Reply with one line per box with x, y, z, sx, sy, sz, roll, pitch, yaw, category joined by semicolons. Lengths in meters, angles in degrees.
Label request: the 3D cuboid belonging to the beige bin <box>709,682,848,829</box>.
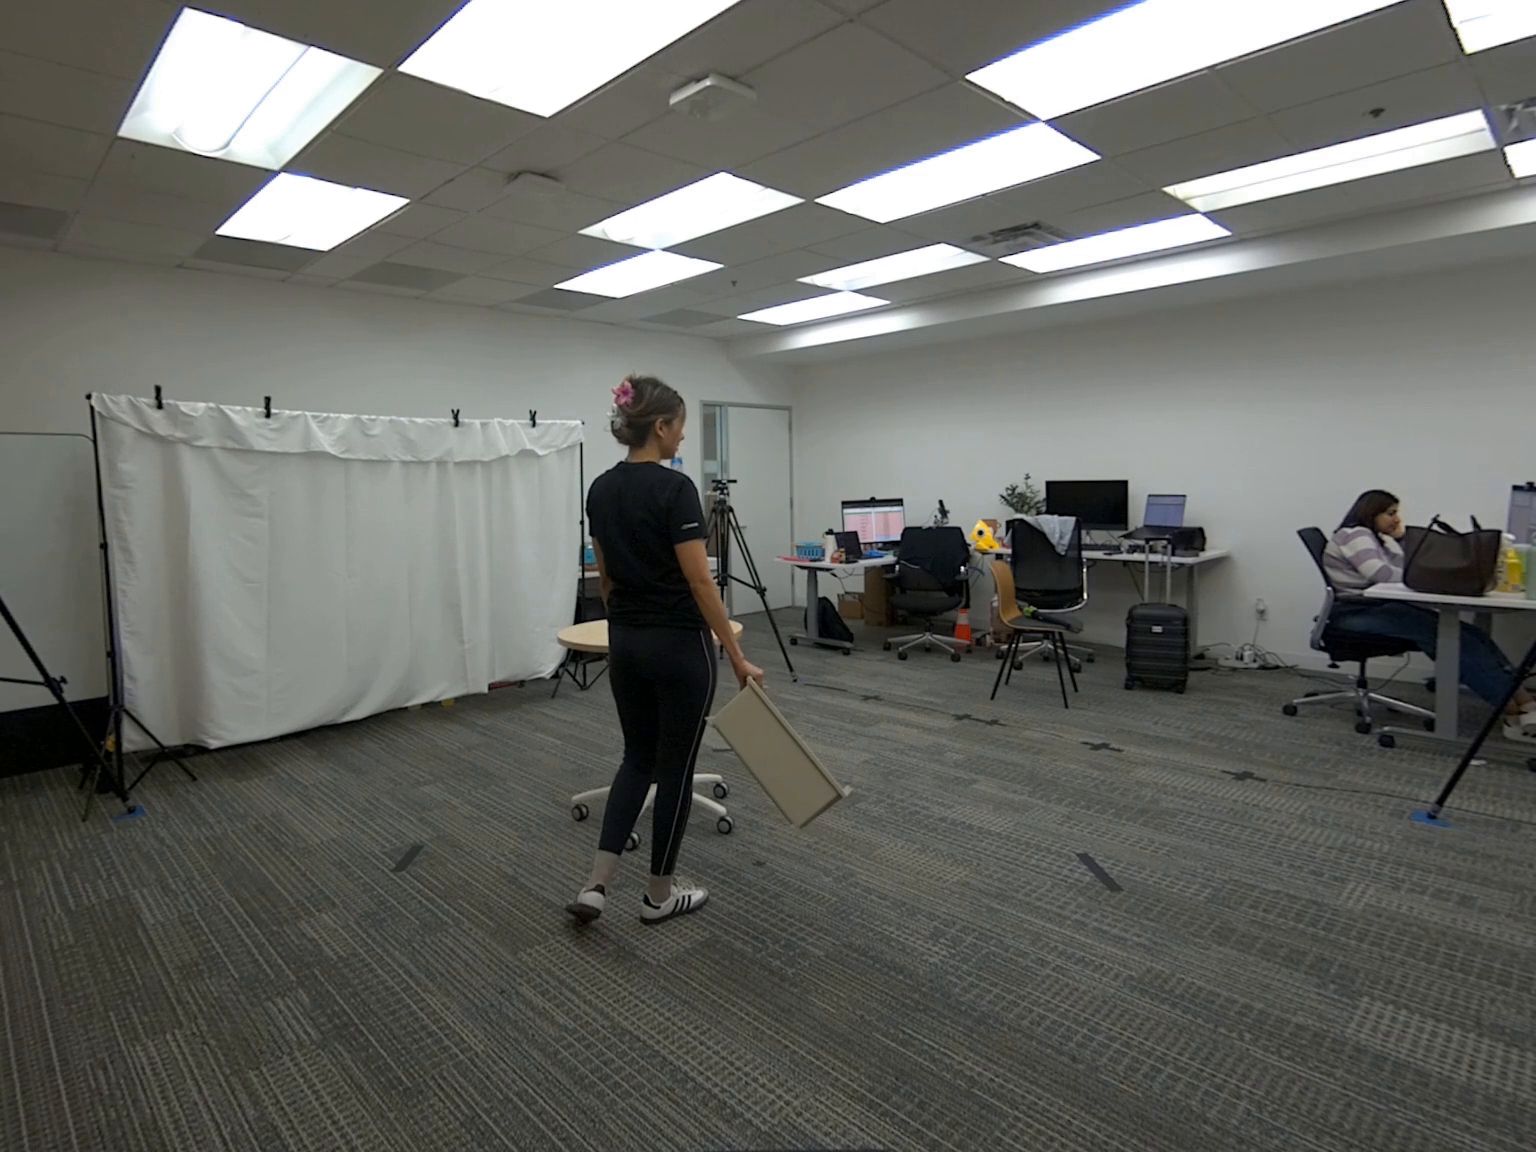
0.045;0.530;2.567;0.189;0.431;0.370;-42;-14;2;beige bin
